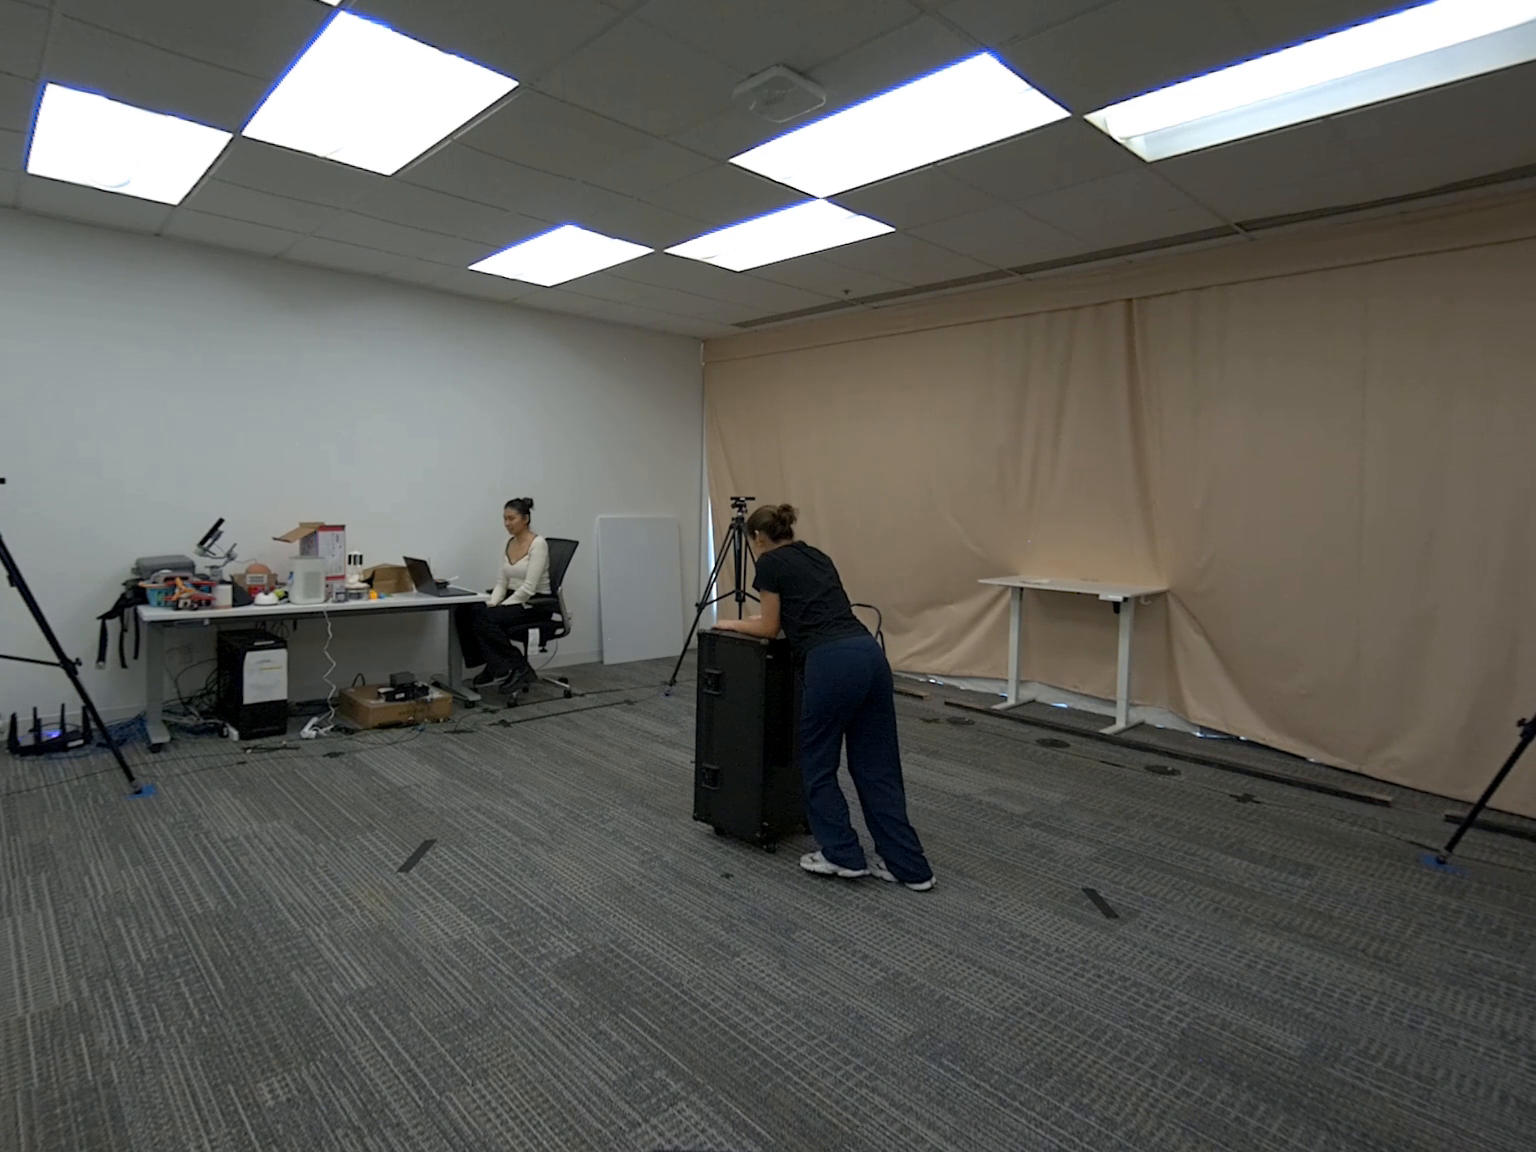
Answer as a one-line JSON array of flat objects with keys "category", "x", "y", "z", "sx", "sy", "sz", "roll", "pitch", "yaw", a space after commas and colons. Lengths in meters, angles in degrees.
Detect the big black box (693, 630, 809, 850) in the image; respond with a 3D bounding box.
[{"category": "big black box", "x": -0.010, "y": 0.595, "z": 3.491, "sx": 0.406, "sy": 0.860, "sz": 0.509, "roll": 3, "pitch": 3, "yaw": 39}]
